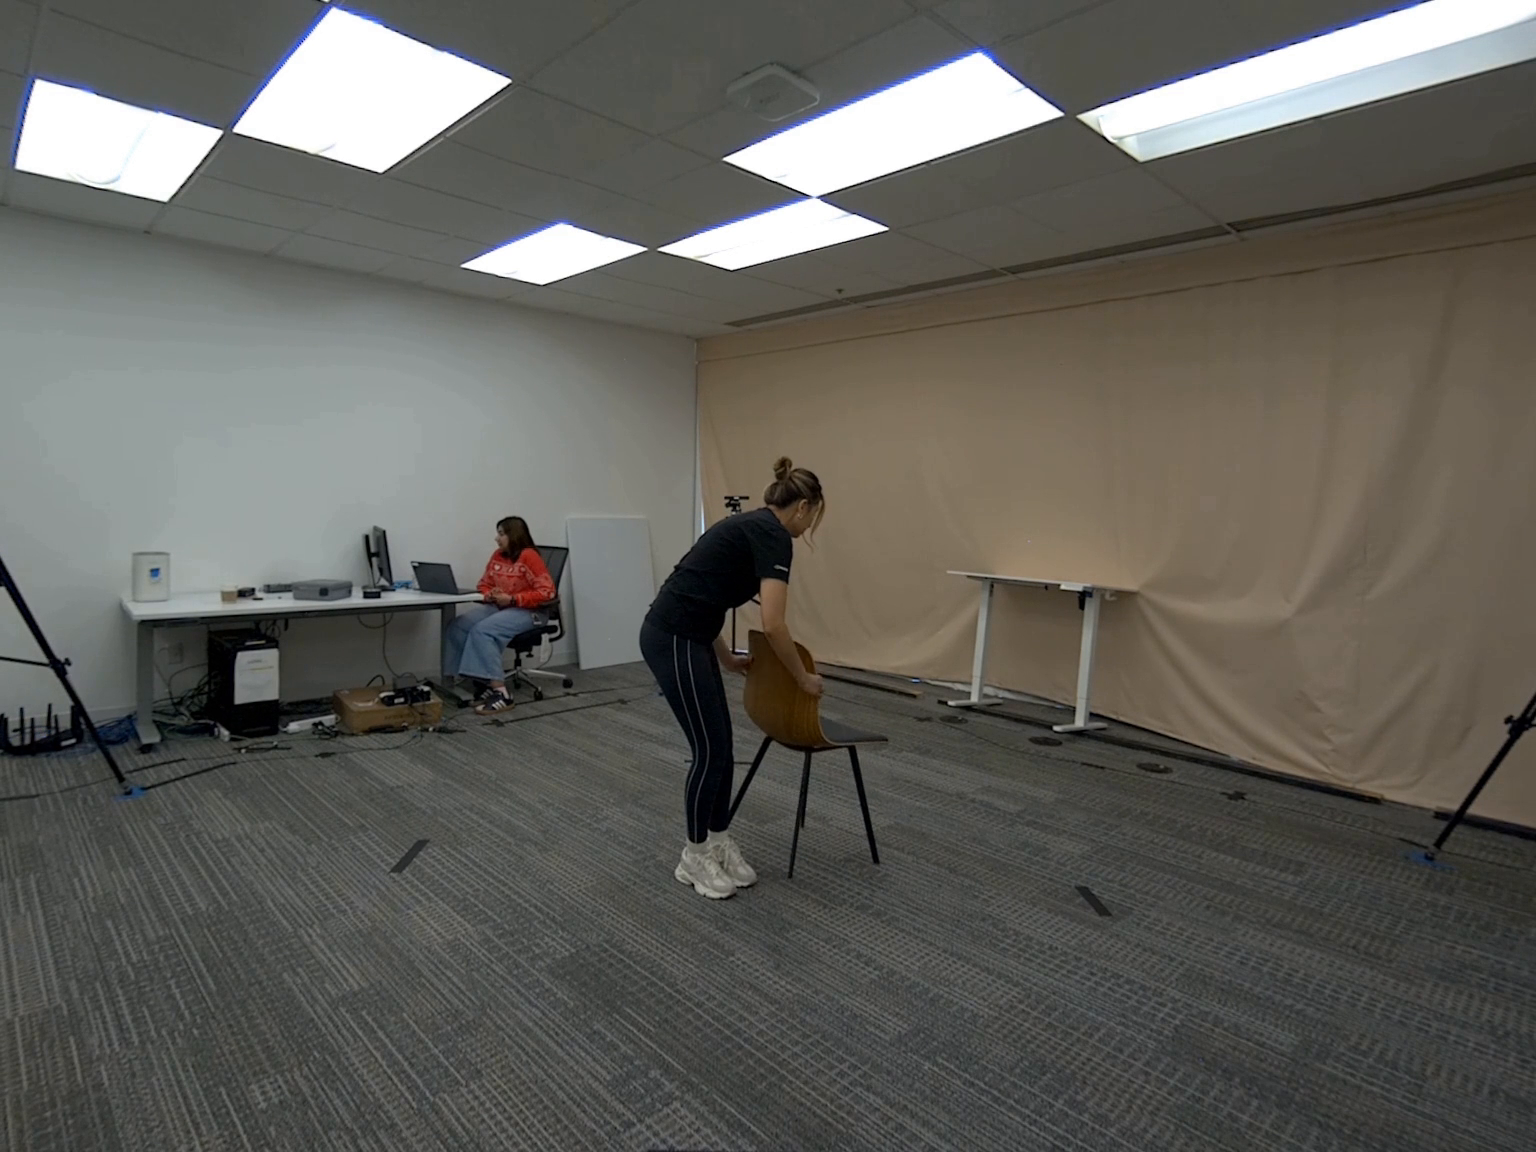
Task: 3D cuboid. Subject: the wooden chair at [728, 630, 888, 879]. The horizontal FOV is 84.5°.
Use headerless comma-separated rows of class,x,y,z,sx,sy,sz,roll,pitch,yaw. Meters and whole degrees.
wooden chair,0.165,0.643,3.289,0.511,0.876,0.490,1,3,-37
